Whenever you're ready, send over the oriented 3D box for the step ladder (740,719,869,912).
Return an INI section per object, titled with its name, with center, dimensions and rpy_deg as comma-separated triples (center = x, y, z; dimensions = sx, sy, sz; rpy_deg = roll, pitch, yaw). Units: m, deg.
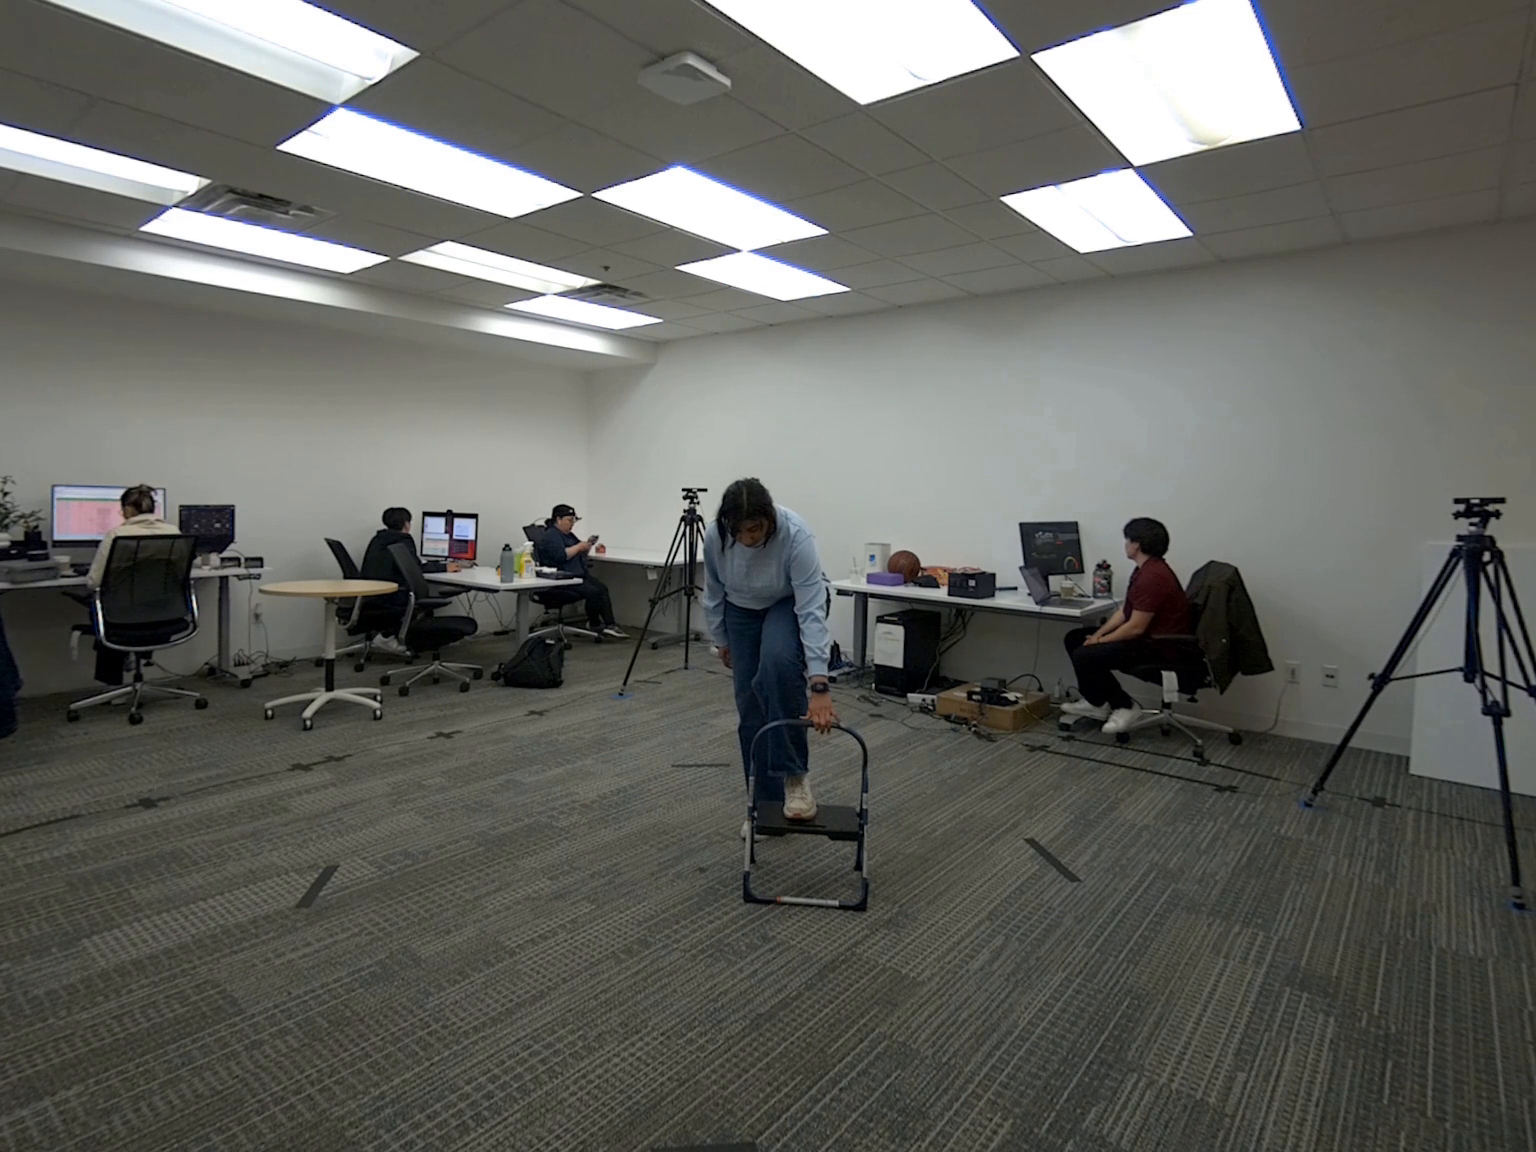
[step ladder]
center = 0.130, 0.787, 2.996
dimensions = 0.433, 0.604, 0.348
rpy_deg = 2, 3, 4
